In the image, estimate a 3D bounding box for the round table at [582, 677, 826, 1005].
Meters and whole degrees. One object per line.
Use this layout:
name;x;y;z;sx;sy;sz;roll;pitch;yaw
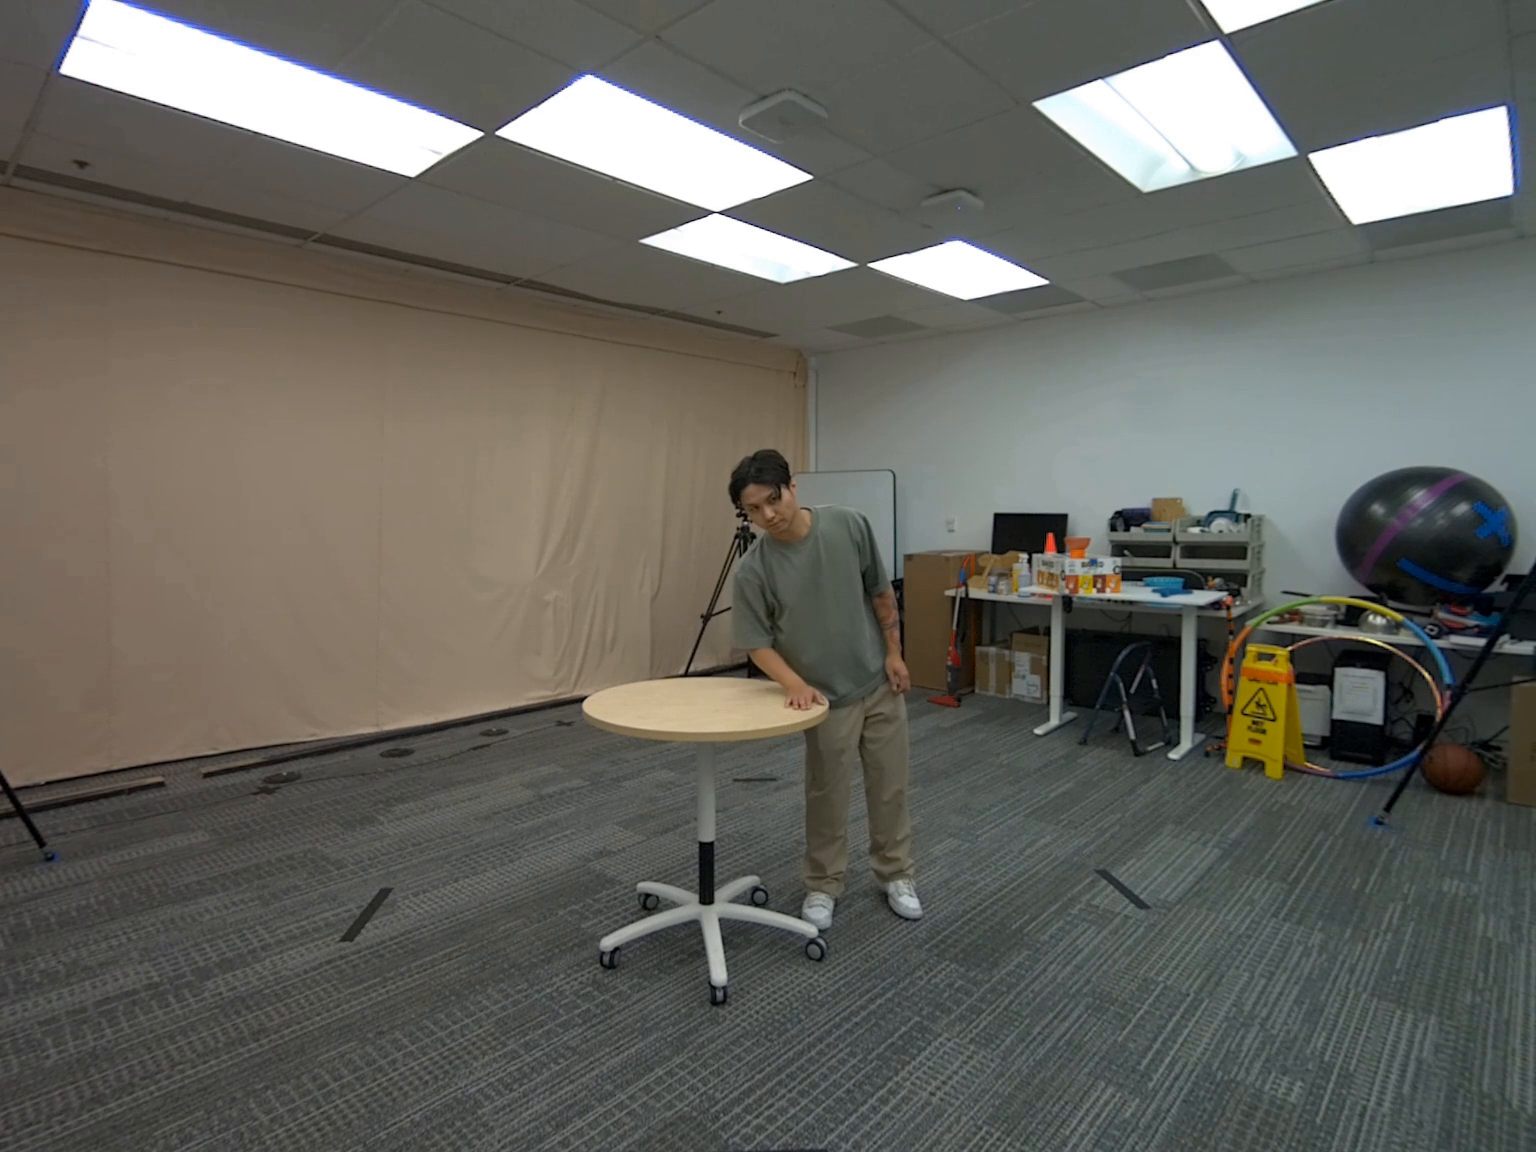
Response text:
round table;-0.190;0.785;2.644;0.763;0.792;0.767;0;4;-2
